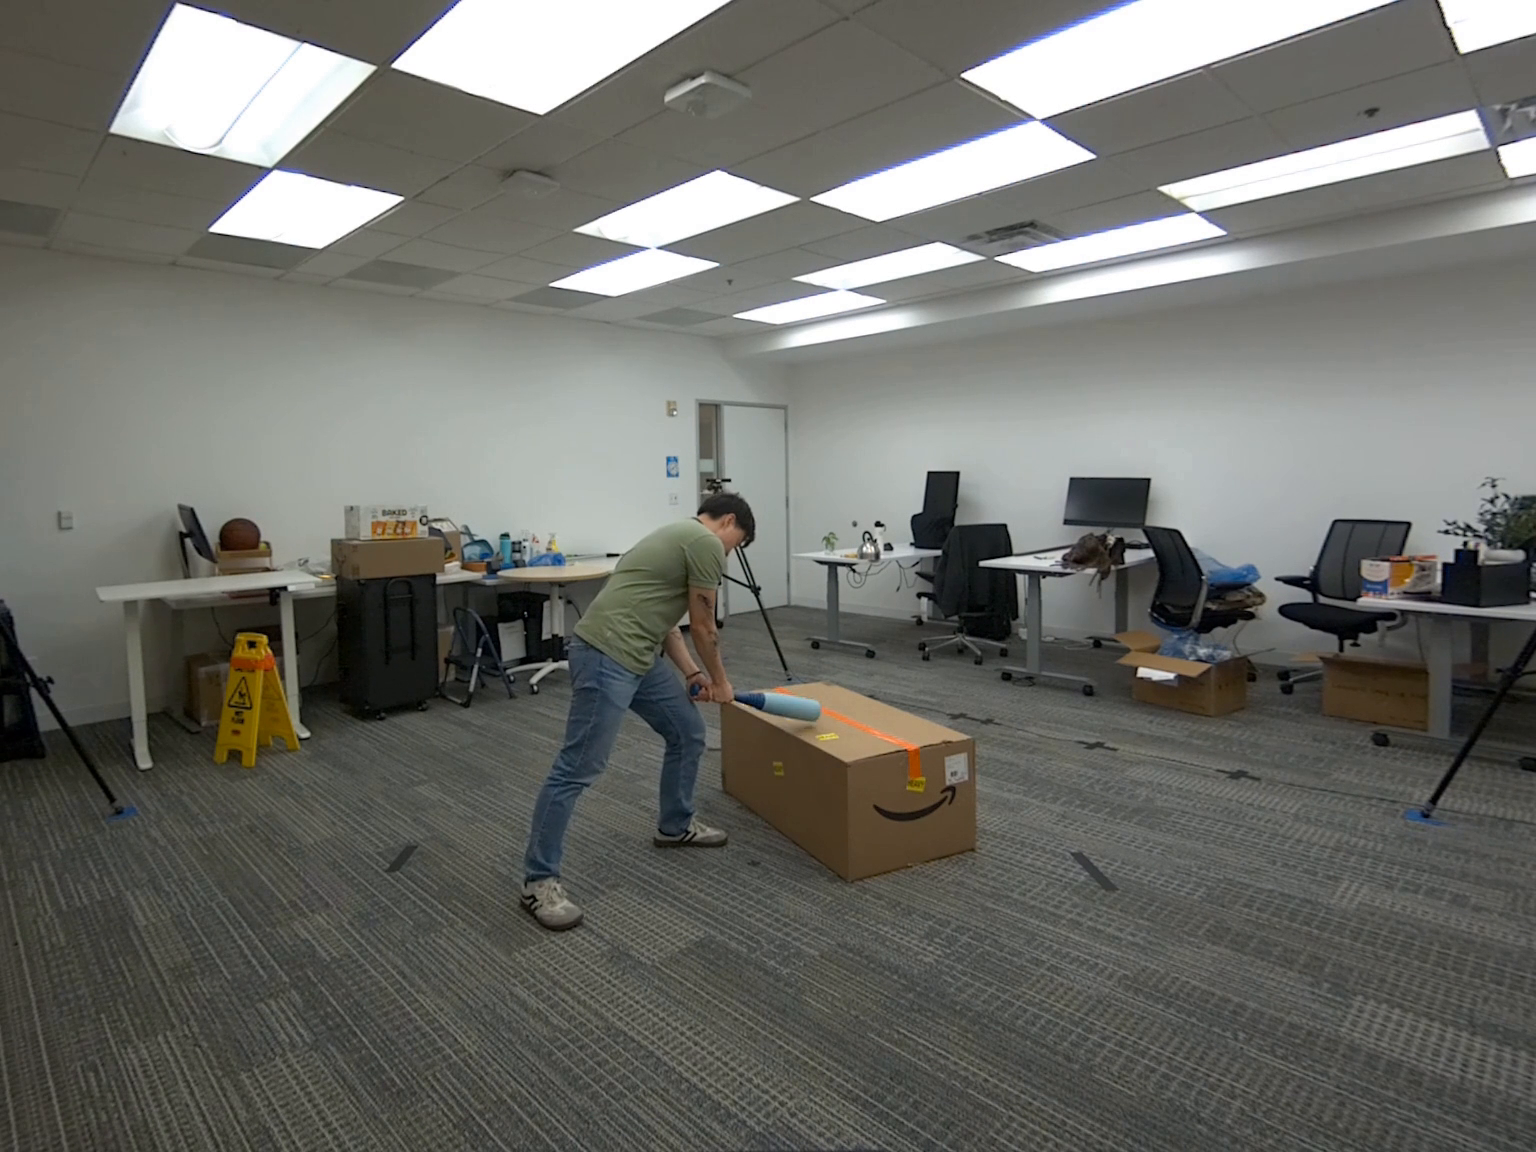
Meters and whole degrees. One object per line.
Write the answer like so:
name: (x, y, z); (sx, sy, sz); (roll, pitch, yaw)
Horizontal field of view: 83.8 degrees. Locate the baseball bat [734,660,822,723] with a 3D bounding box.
baseball bat: (-0.022, 0.446, 3.252); (0.532, 0.089, 0.091); (12, 0, -19)
